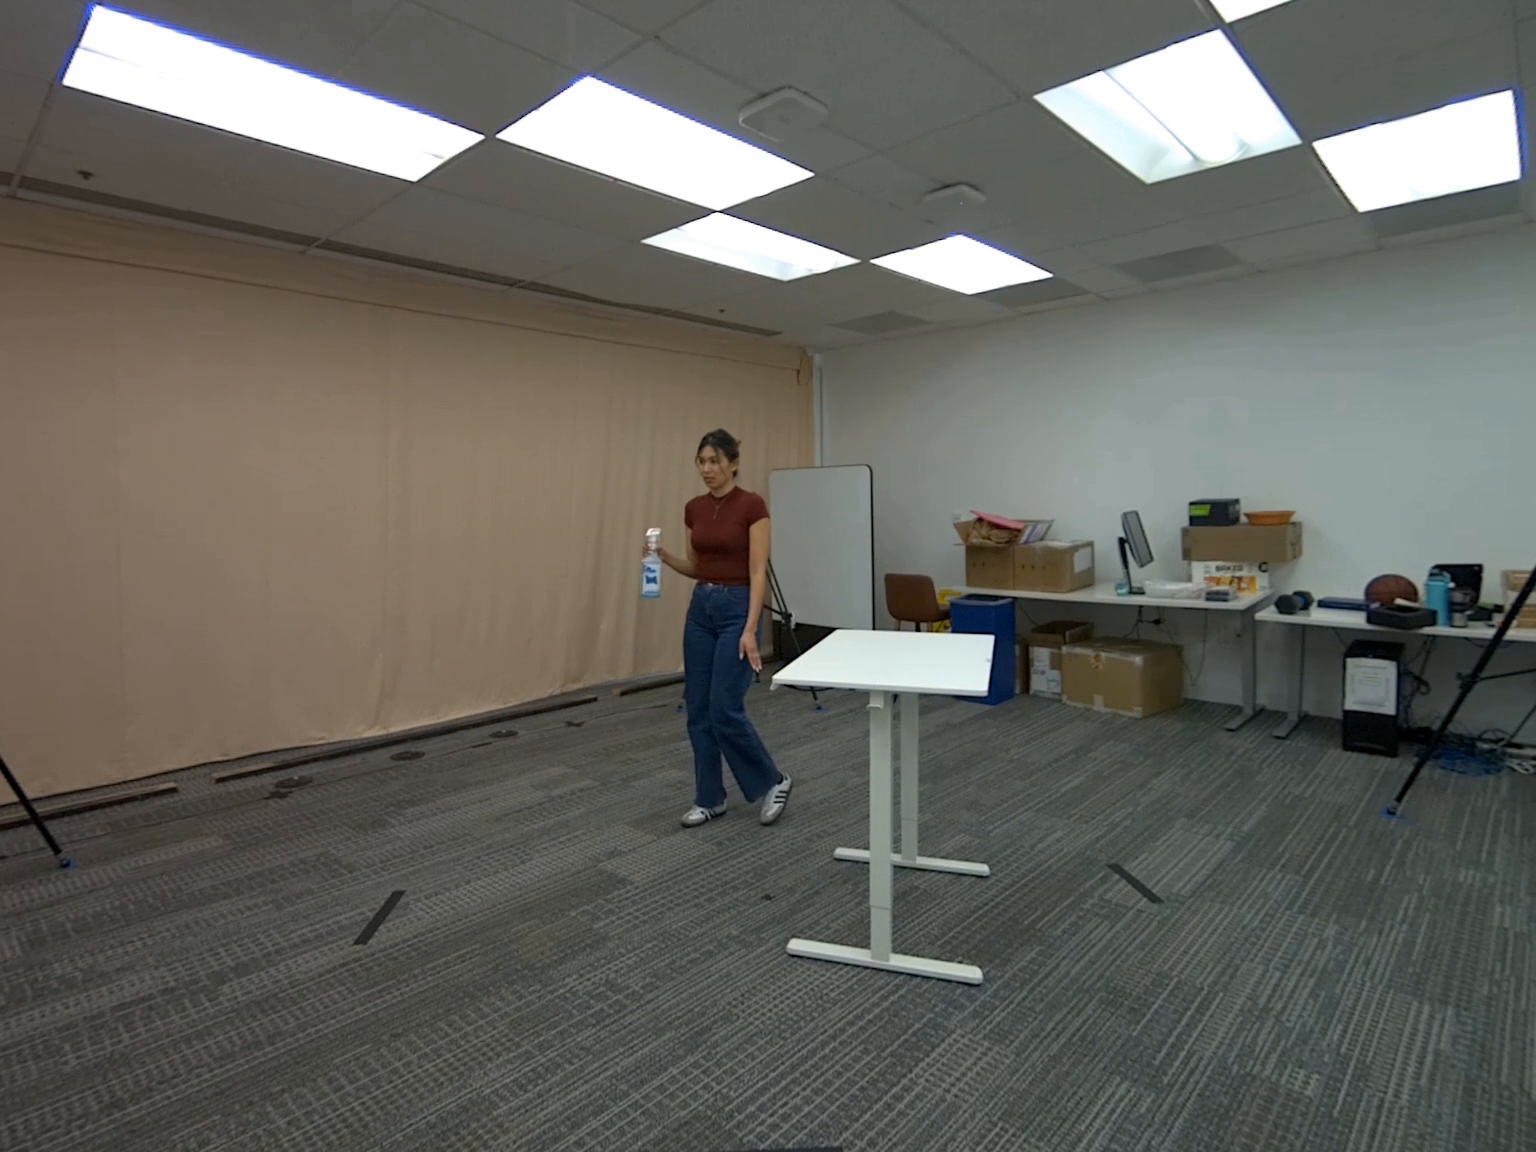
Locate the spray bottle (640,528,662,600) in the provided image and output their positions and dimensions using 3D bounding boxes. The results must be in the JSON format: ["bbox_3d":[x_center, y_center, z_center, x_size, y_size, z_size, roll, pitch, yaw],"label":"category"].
[{"bbox_3d":[-0.494,-0.055,3.613,0.087,0.297,0.090,3,2,-33],"label":"spray bottle"}]
